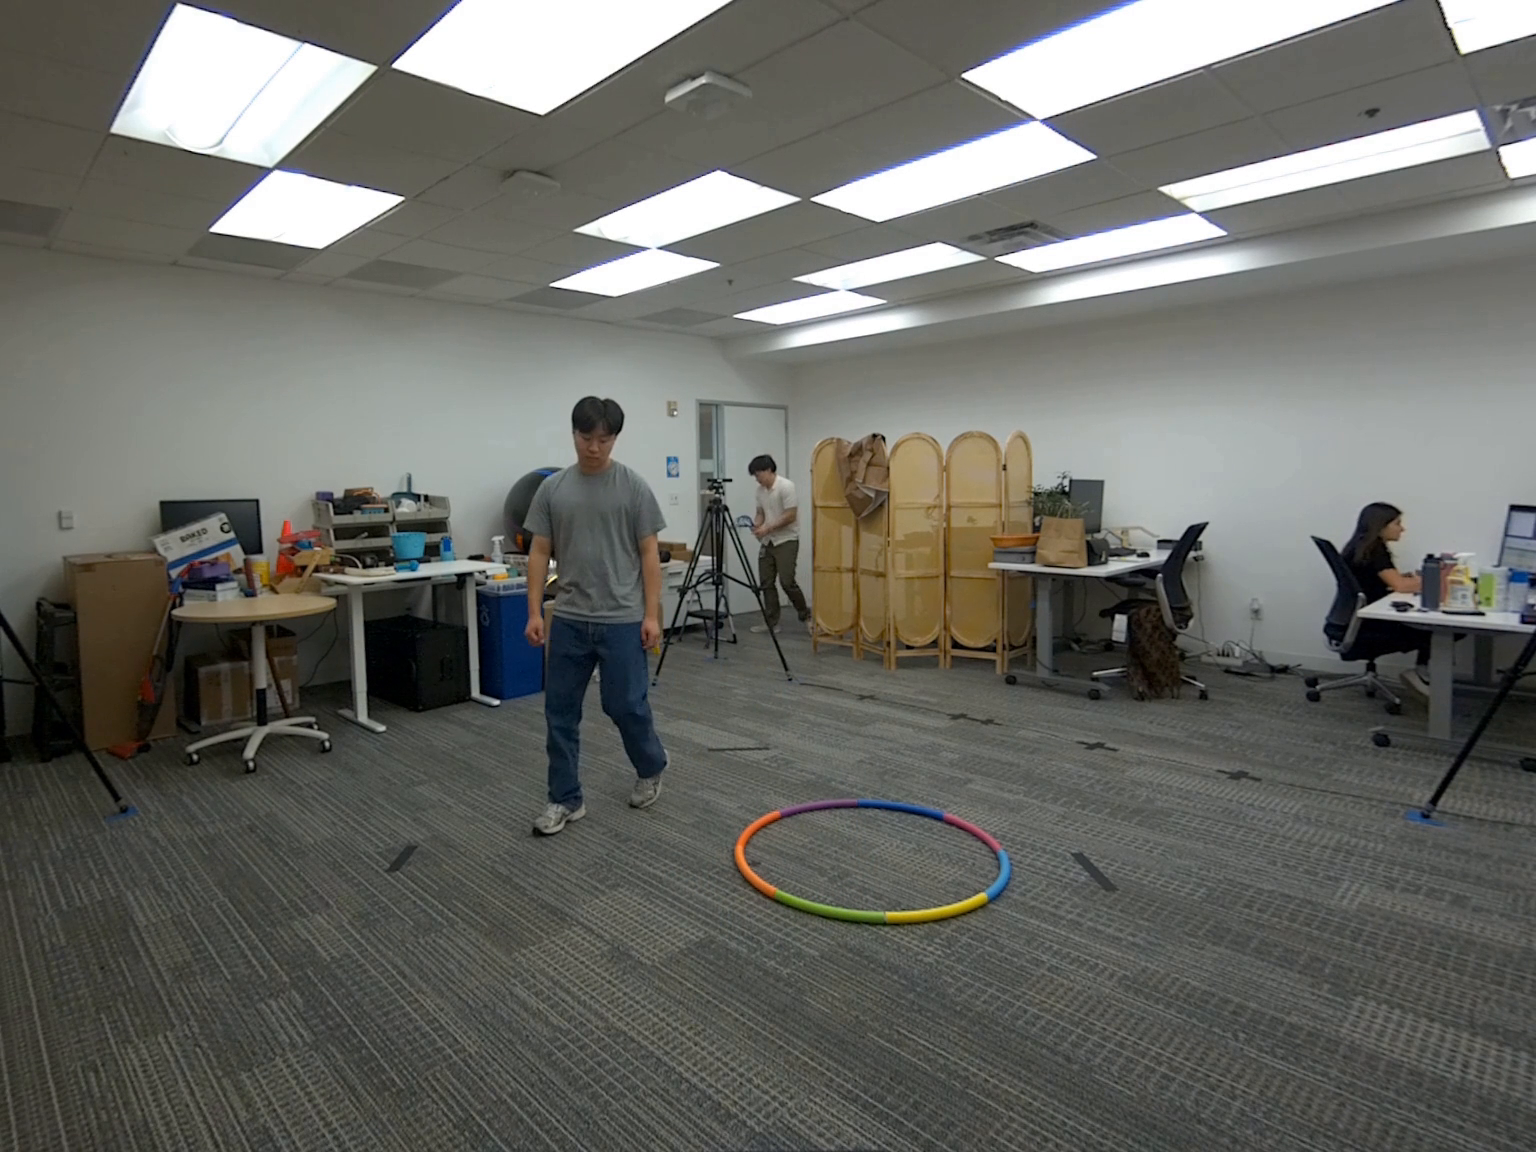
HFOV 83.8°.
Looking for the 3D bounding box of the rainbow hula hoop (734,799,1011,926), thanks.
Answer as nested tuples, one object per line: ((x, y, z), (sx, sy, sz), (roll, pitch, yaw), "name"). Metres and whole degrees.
((0.366, 1.000, 3.148), (0.978, 0.035, 0.984), (-1, 6, -2), "rainbow hula hoop")
